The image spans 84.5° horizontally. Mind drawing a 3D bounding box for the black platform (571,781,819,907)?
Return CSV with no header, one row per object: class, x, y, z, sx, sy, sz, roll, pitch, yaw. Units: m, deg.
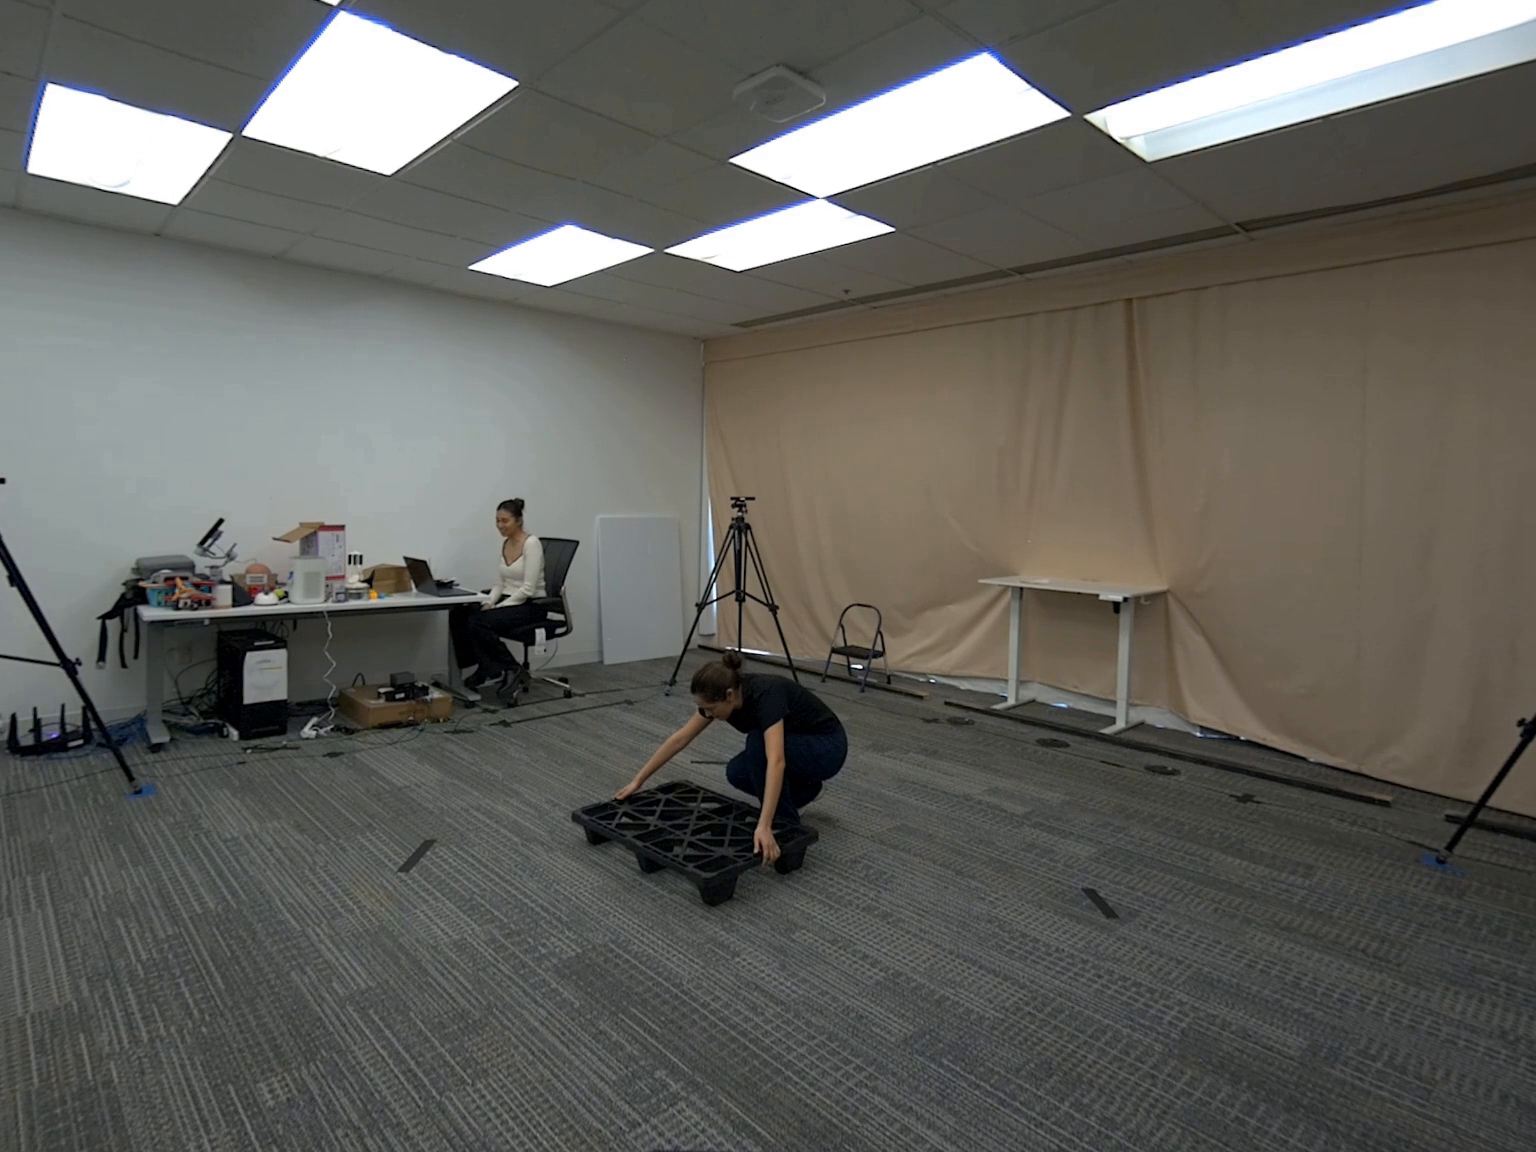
black platform,-0.302,1.024,3.266,0.826,0.143,0.591,6,6,43
